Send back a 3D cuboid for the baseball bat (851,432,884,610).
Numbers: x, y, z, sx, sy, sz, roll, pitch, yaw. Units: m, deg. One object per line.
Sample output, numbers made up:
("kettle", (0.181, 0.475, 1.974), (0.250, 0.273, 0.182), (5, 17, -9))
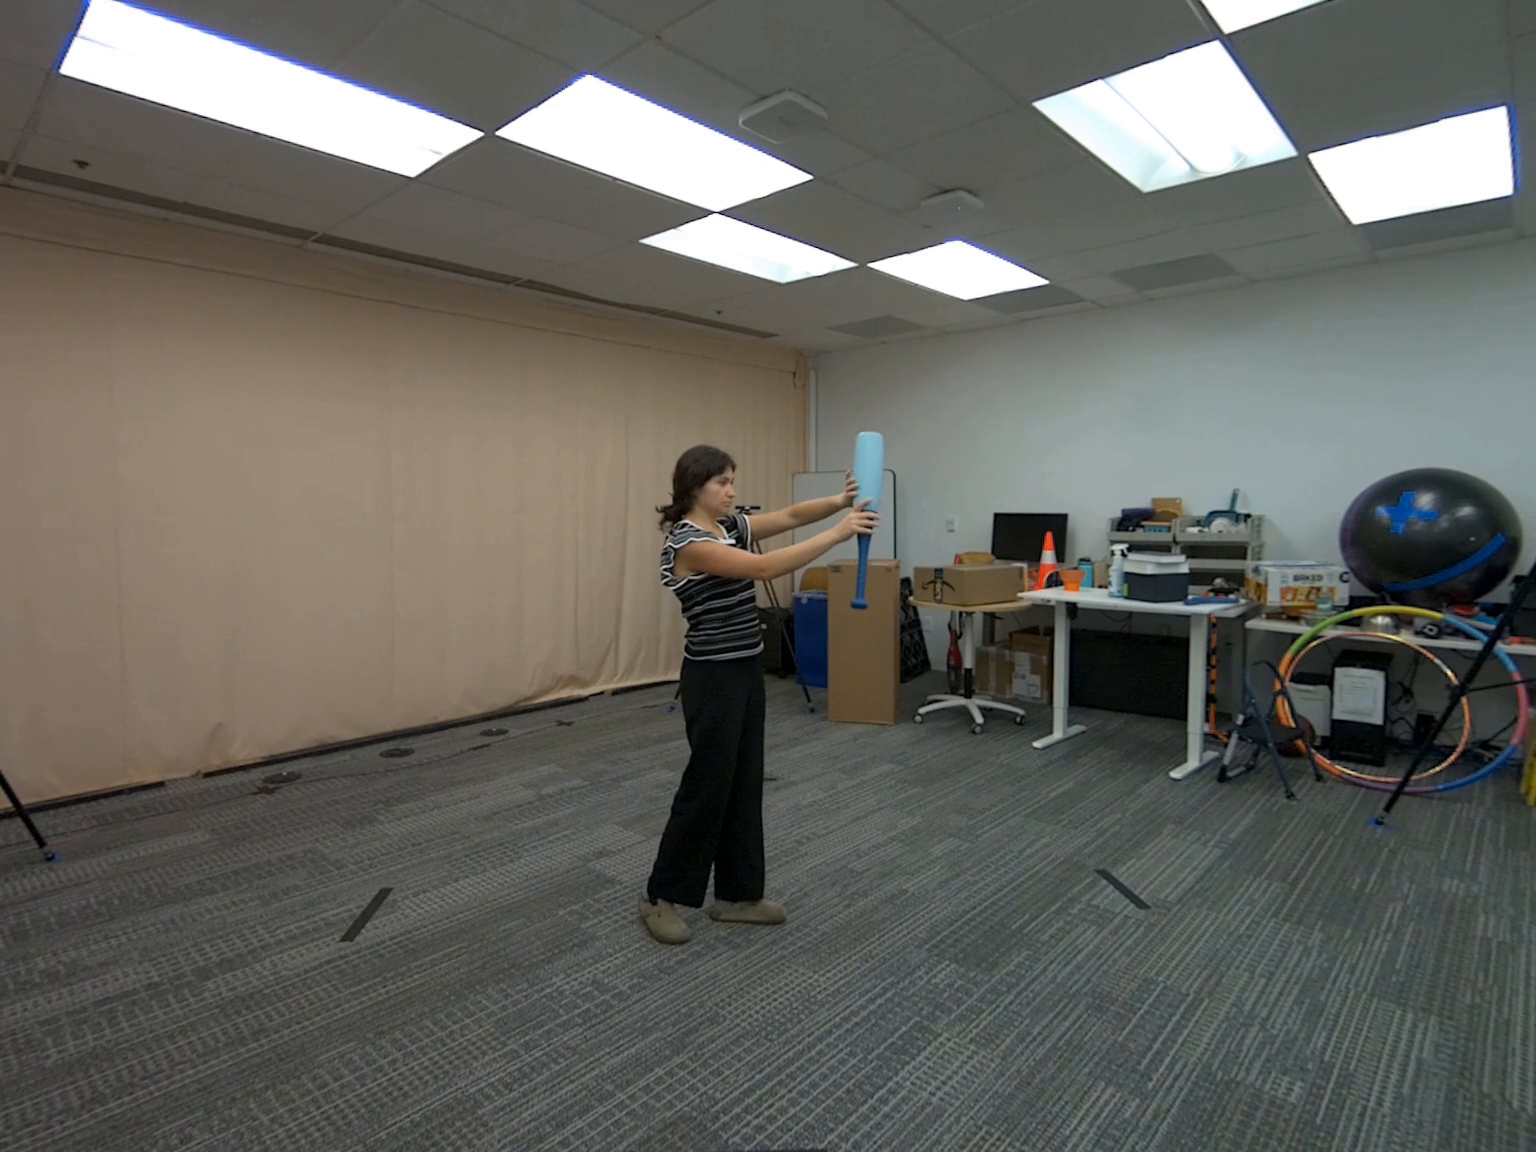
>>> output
("baseball bat", (0.304, -0.166, 2.521), (0.089, 0.546, 0.088), (6, -12, -1))
